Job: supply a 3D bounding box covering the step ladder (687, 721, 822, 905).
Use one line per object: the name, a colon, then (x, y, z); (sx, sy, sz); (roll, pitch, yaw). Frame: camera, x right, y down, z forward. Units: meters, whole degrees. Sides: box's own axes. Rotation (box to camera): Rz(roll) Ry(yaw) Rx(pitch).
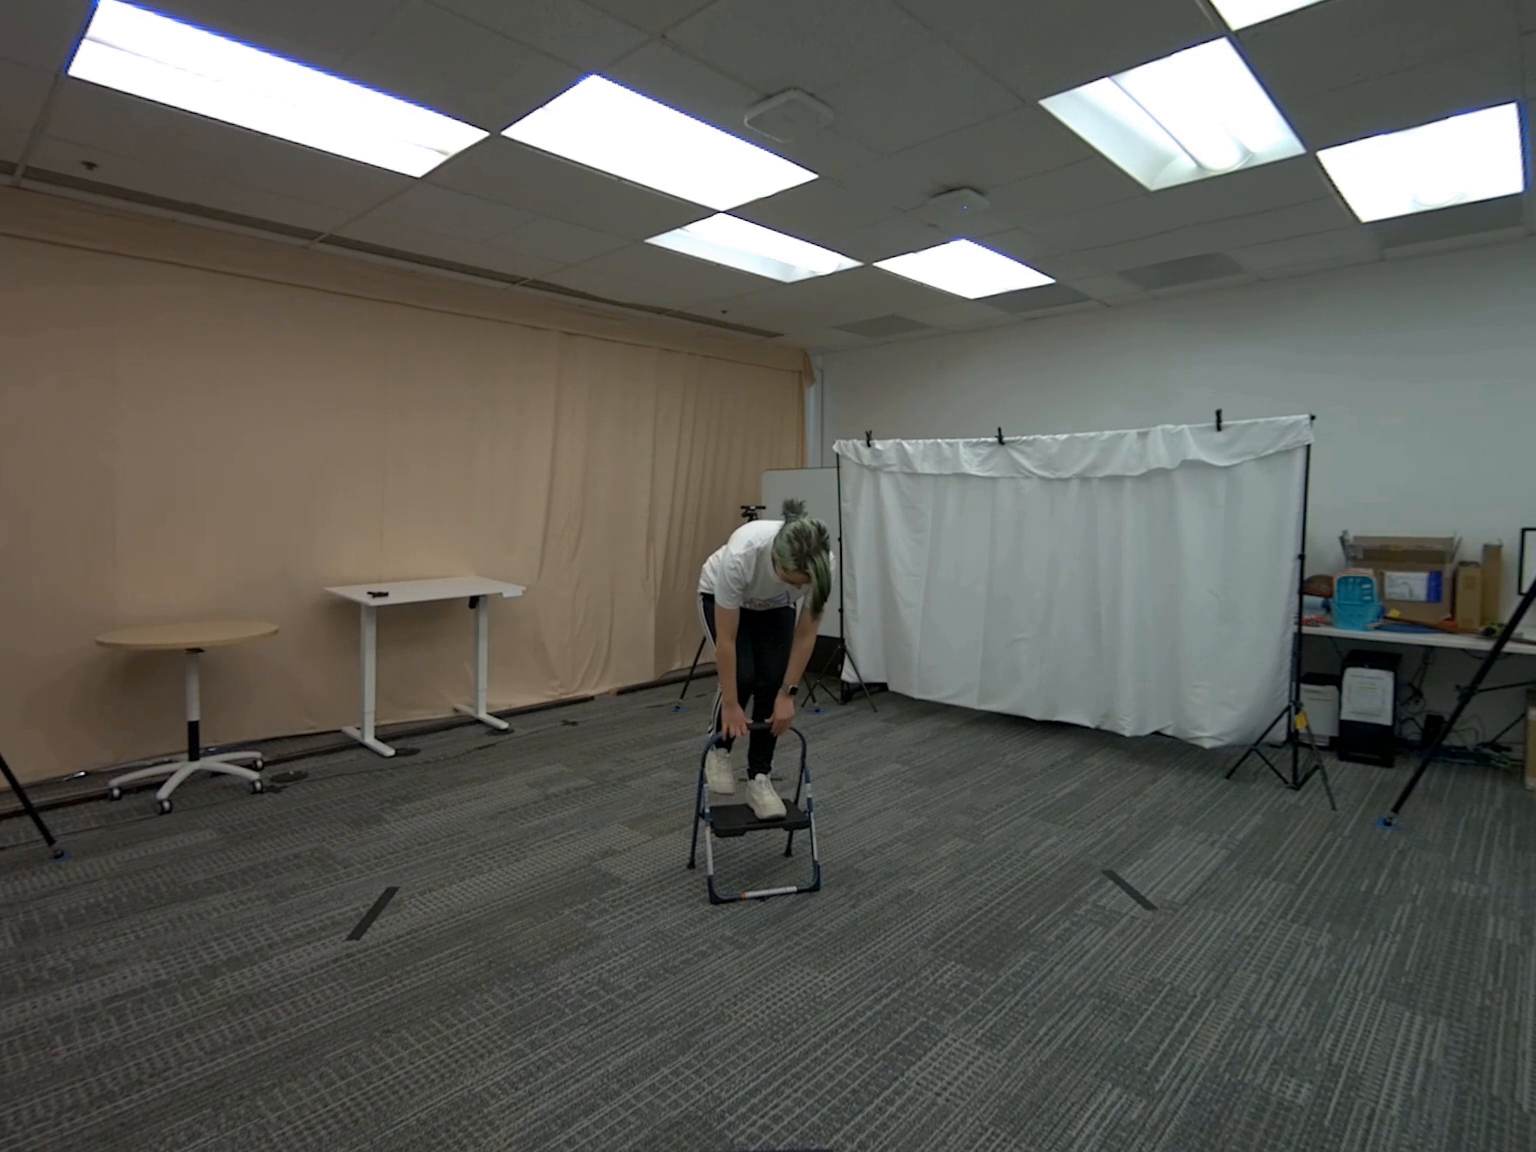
step ladder: (-0.056, 0.833, 3.134); (0.423, 0.605, 0.356); (-1, 3, -18)
